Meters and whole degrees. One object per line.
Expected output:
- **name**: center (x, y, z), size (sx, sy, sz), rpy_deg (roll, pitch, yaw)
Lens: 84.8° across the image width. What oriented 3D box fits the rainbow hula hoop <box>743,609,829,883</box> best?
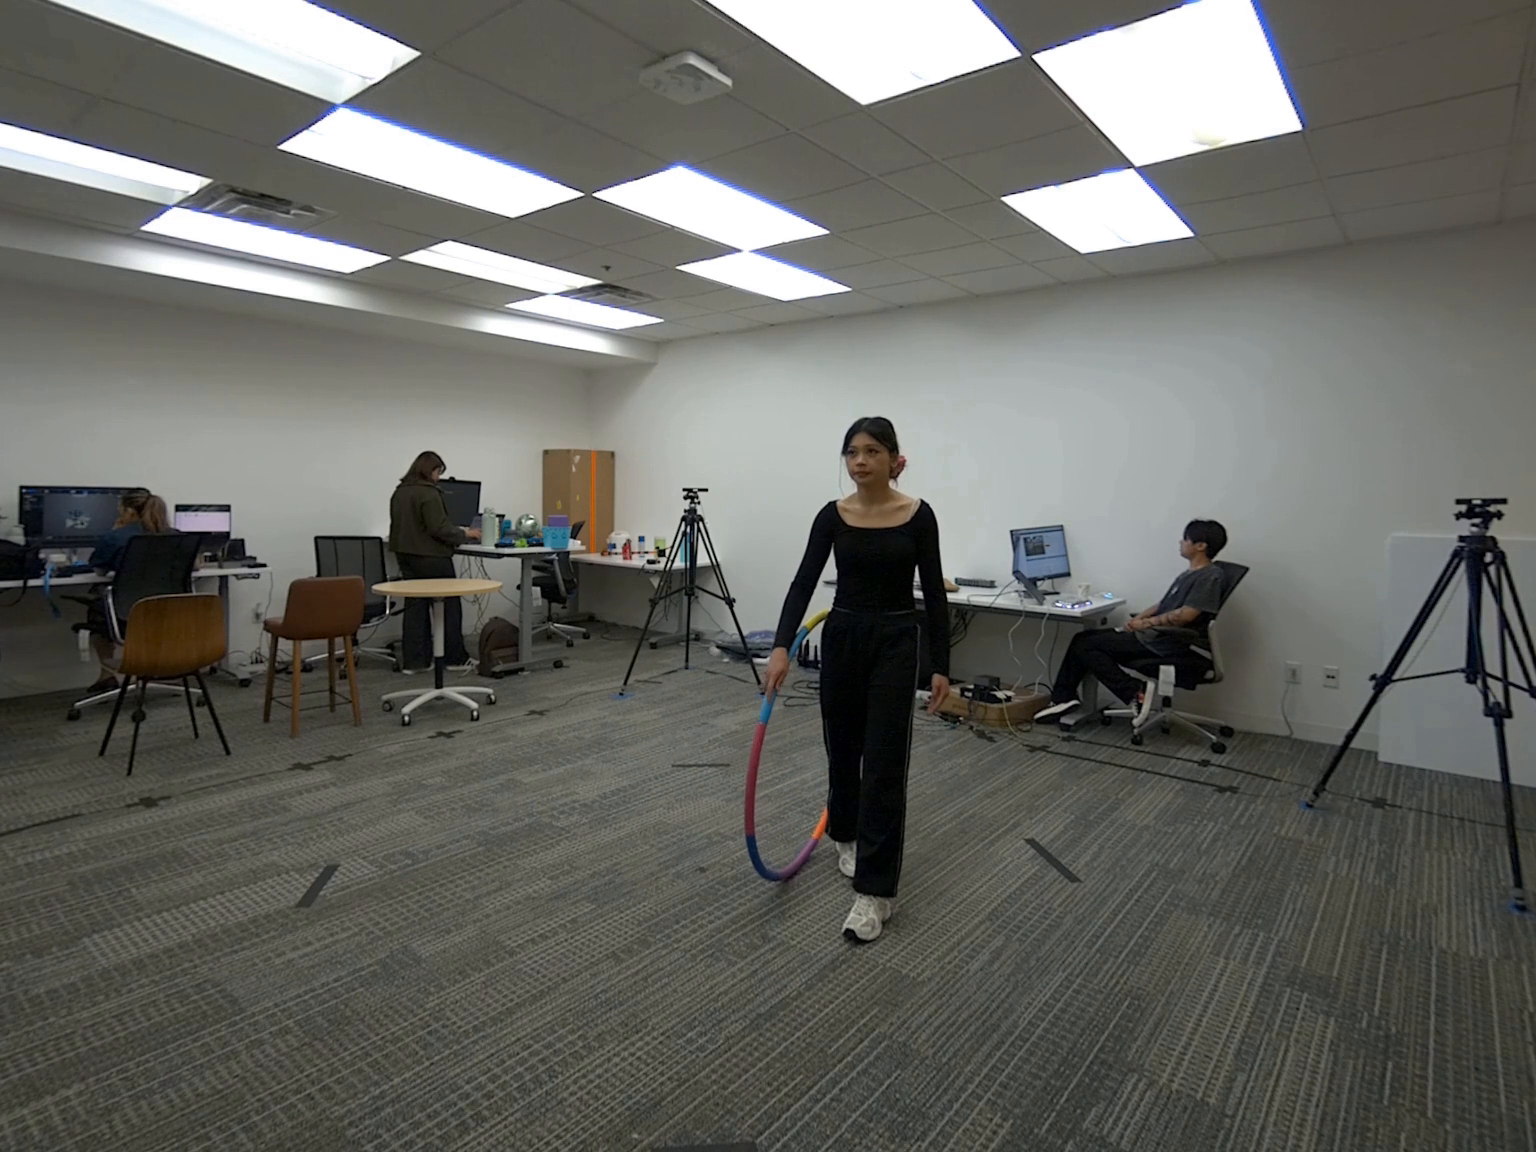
- **rainbow hula hoop**: center (0.137, 0.602, 3.068), size (0.036, 0.974, 0.956), rpy_deg (9, 7, 25)
